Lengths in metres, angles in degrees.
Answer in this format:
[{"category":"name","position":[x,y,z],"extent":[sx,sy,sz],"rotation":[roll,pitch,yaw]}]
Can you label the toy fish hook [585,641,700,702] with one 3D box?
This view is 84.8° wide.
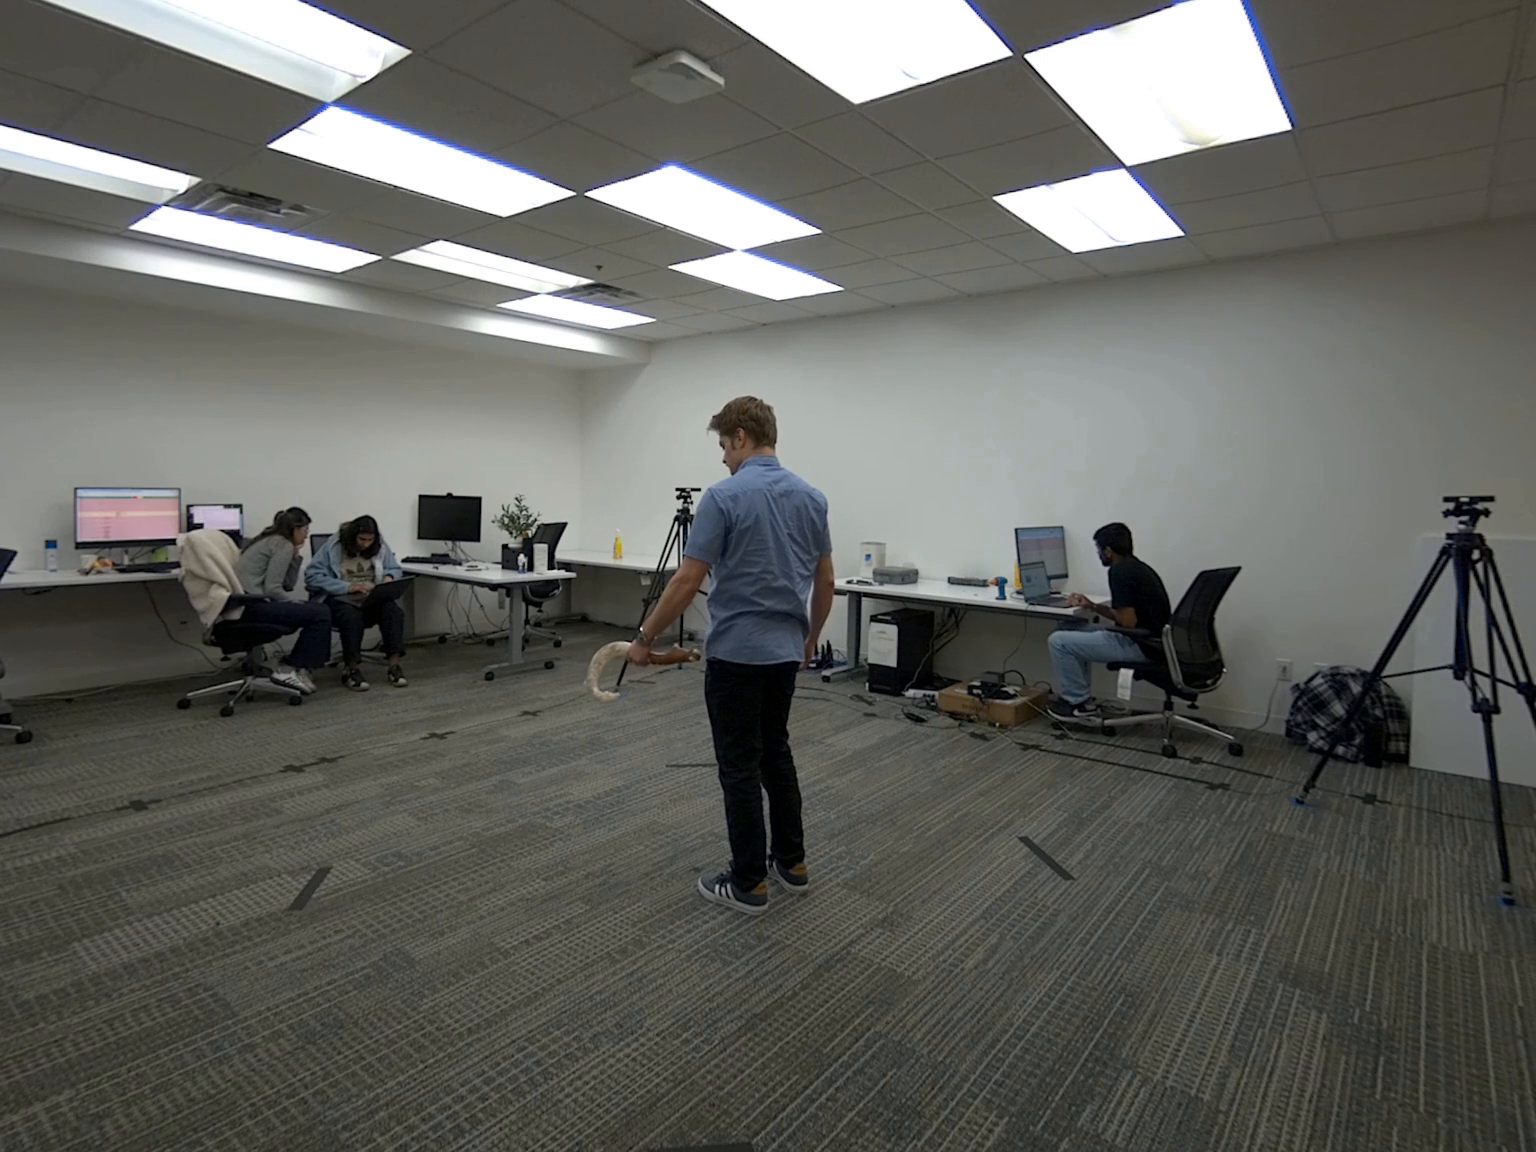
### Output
[{"category":"toy fish hook","position":[-0.445,0.317,2.858],"extent":[0.520,0.228,0.046],"rotation":[-7,-30,38]}]
